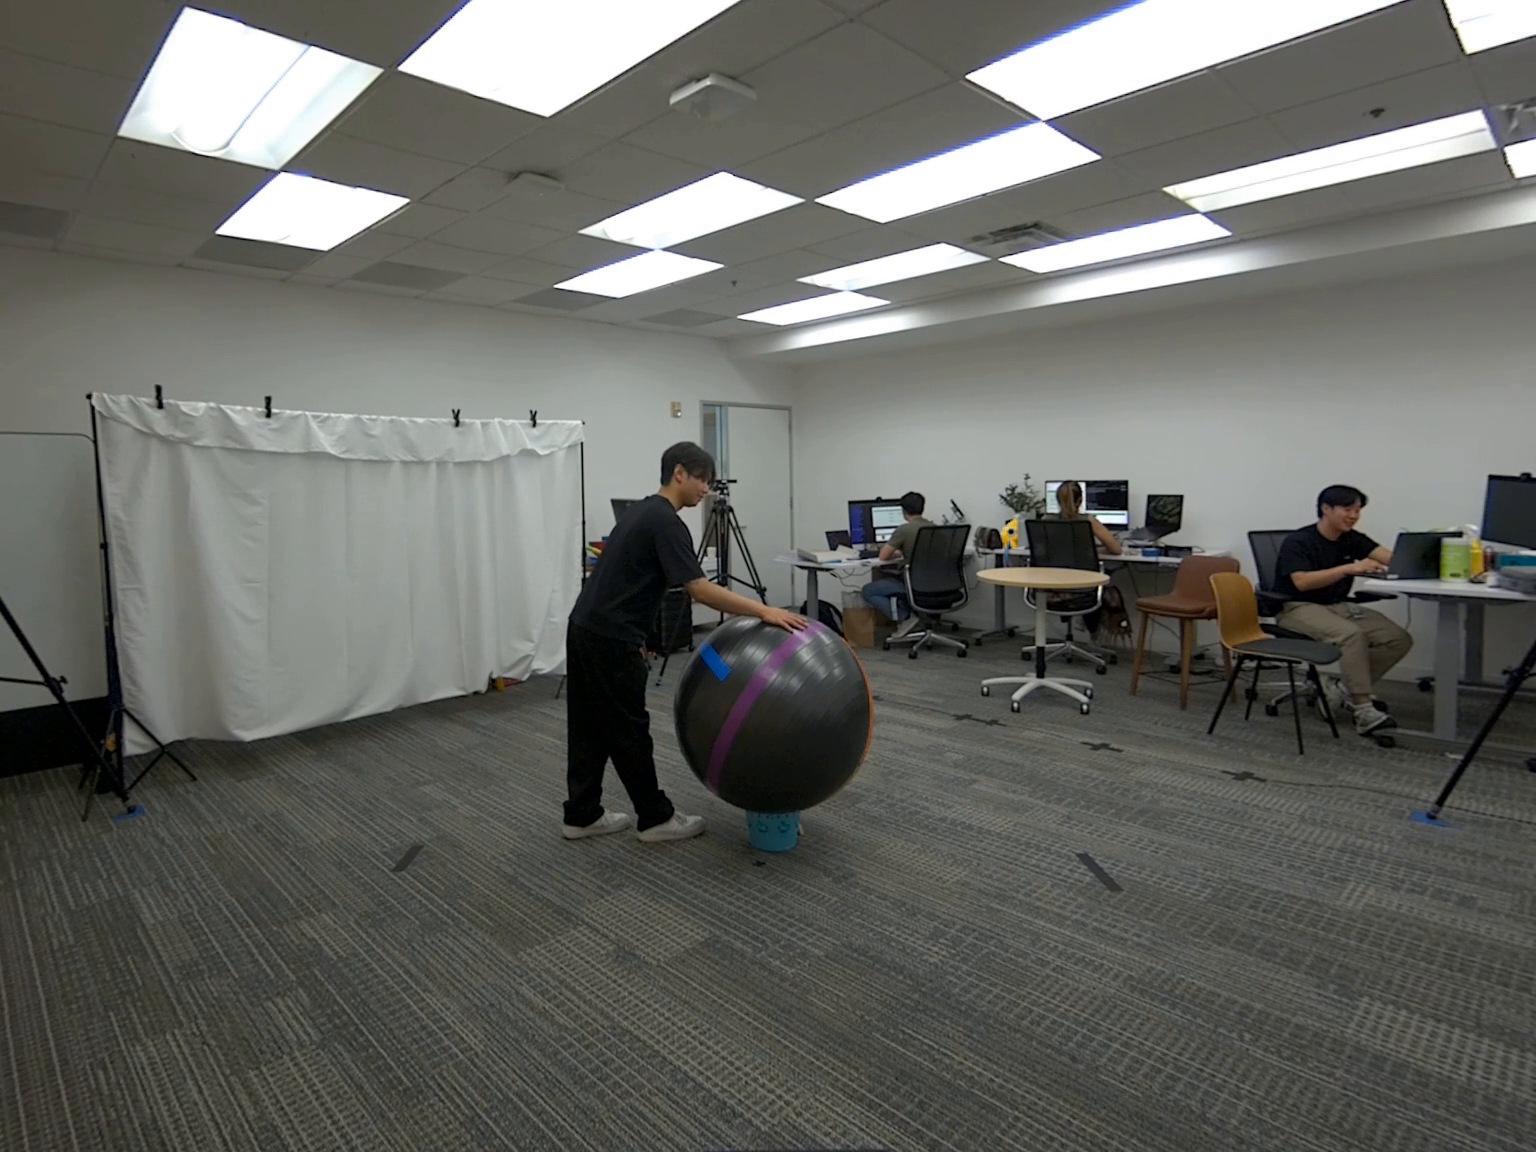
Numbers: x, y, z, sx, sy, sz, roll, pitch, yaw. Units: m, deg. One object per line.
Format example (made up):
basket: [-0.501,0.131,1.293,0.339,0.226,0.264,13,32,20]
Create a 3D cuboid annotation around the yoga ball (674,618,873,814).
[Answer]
yoga ball: [0.026,0.517,3.272,0.757,0.755,0.762,-1,5,-2]
